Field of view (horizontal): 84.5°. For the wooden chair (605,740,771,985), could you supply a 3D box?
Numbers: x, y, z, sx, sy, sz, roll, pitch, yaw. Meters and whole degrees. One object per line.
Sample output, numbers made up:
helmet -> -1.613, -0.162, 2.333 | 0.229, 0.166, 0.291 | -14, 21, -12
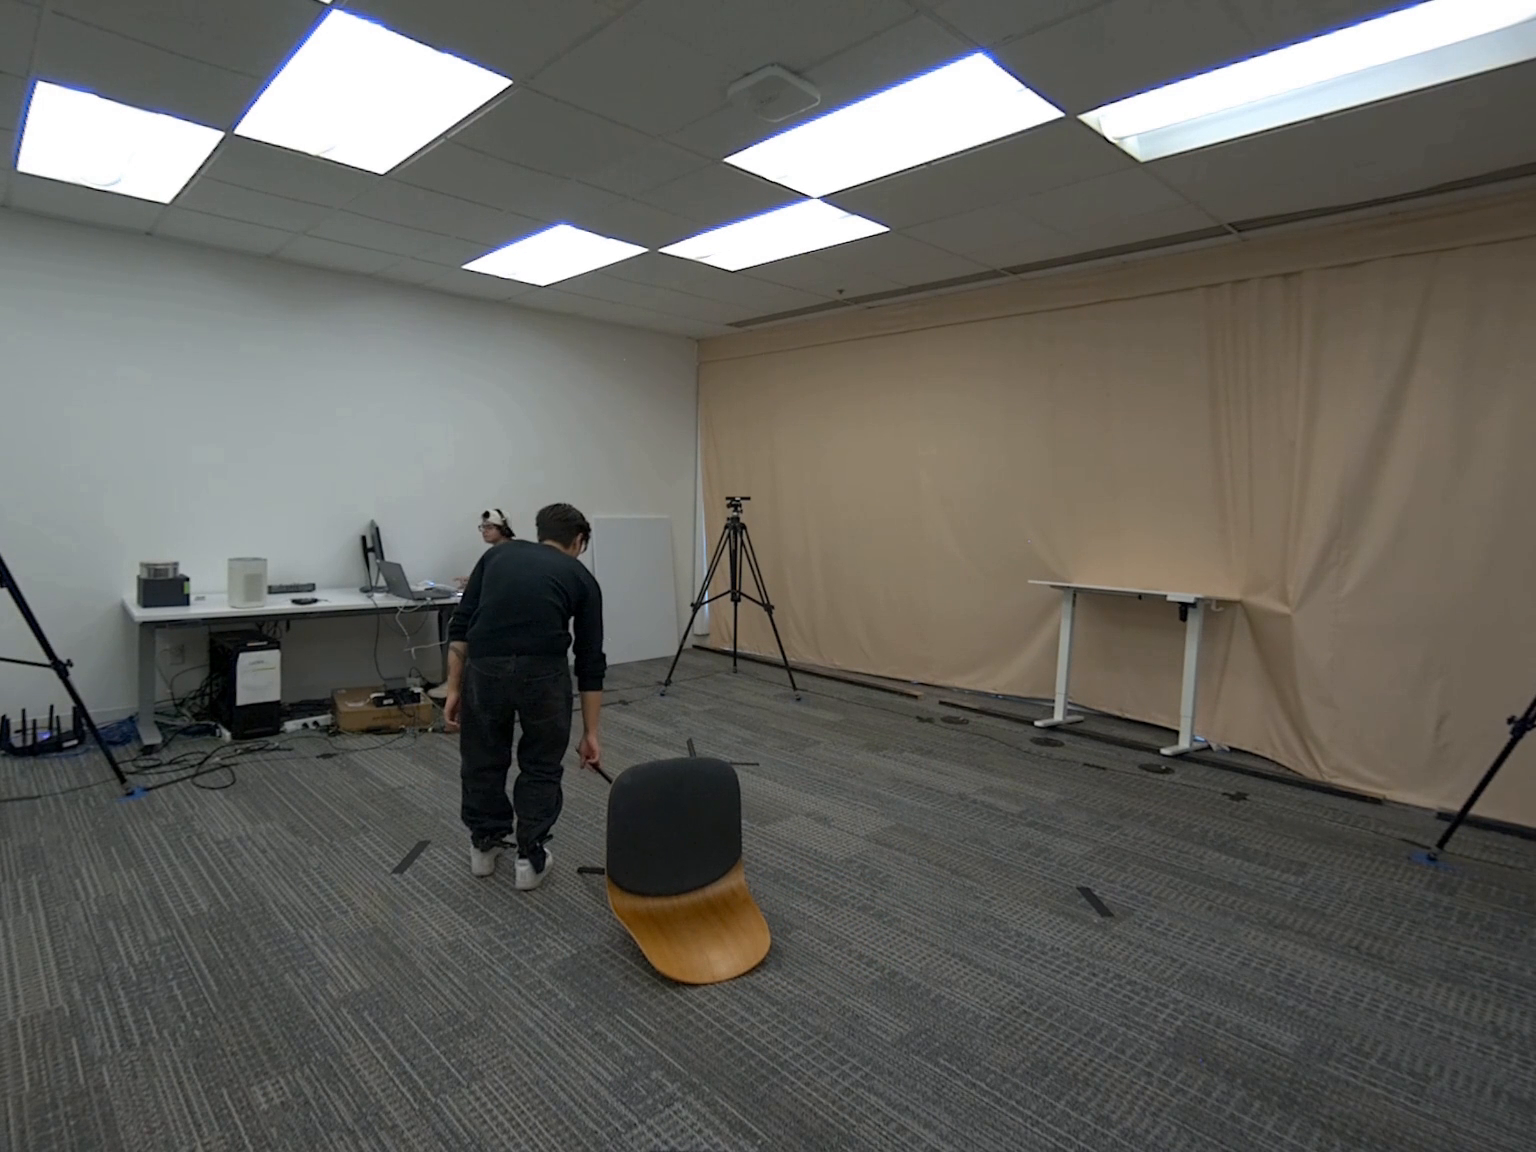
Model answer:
wooden chair -> -0.327, 0.872, 2.797 | 0.470, 0.521, 0.896 | 0, 5, -25
